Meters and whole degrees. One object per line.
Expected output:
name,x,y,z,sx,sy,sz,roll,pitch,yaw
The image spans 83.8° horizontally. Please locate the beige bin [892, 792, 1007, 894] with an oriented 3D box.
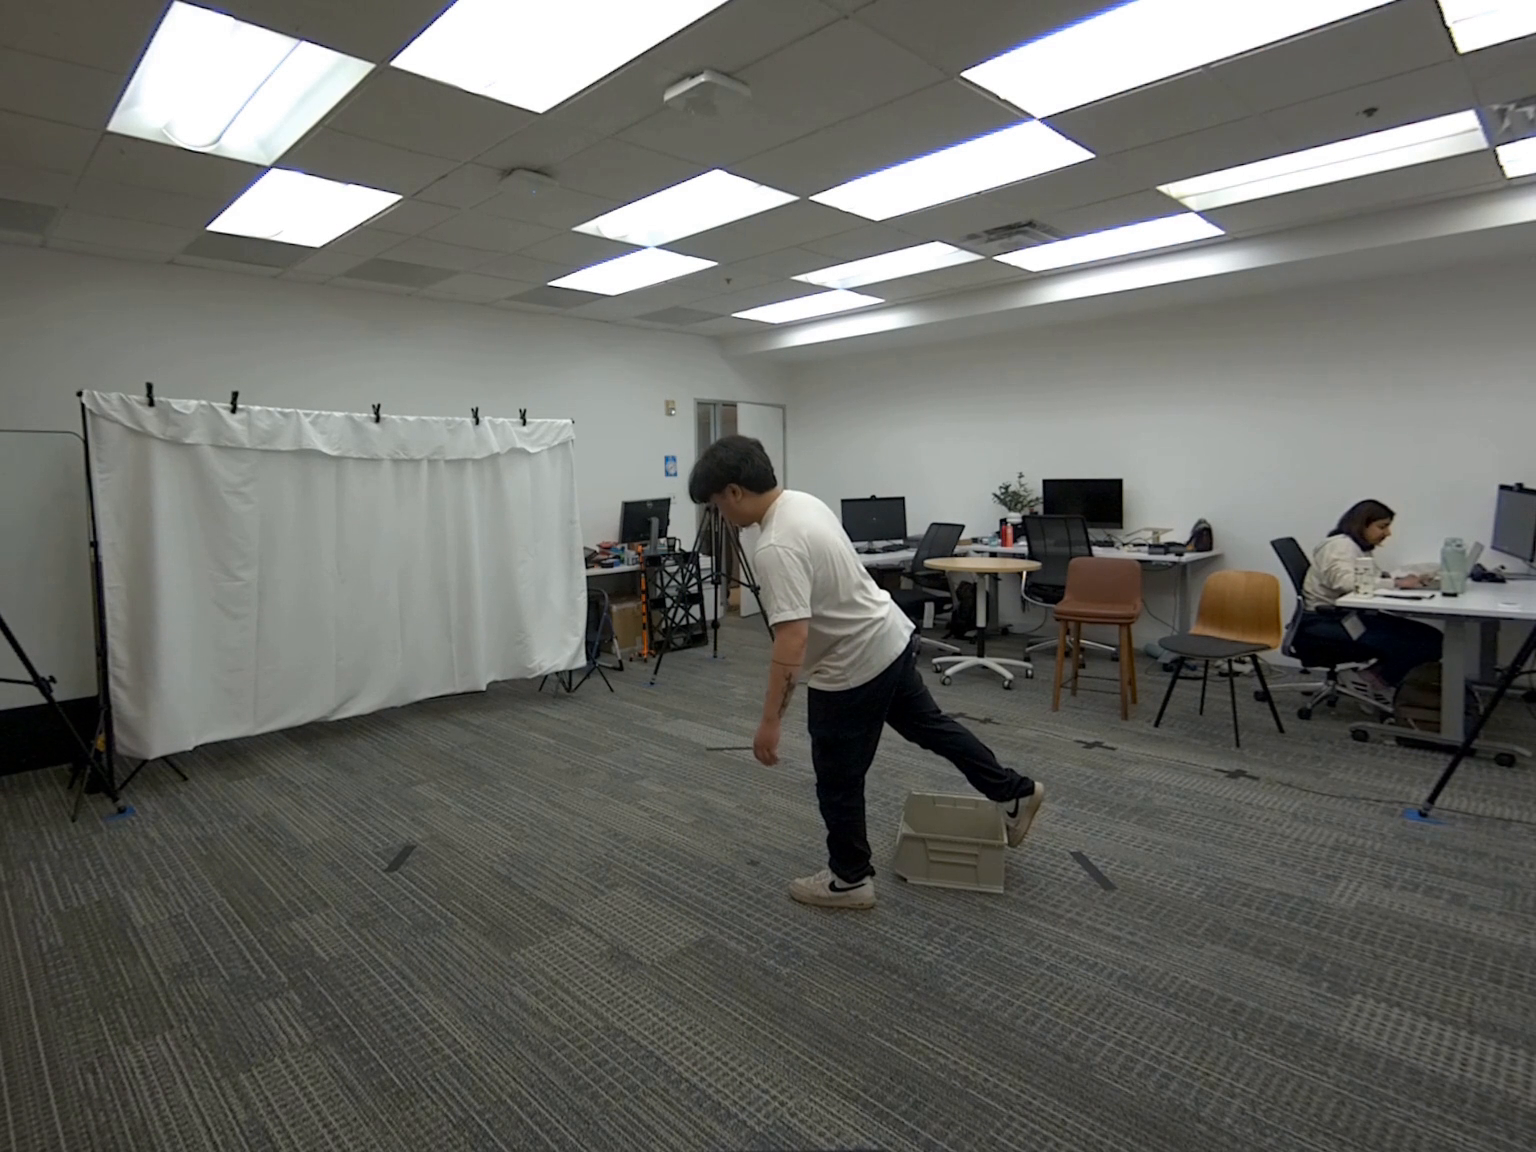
beige bin,0.661,0.944,3.080,0.383,0.188,0.418,1,6,14
